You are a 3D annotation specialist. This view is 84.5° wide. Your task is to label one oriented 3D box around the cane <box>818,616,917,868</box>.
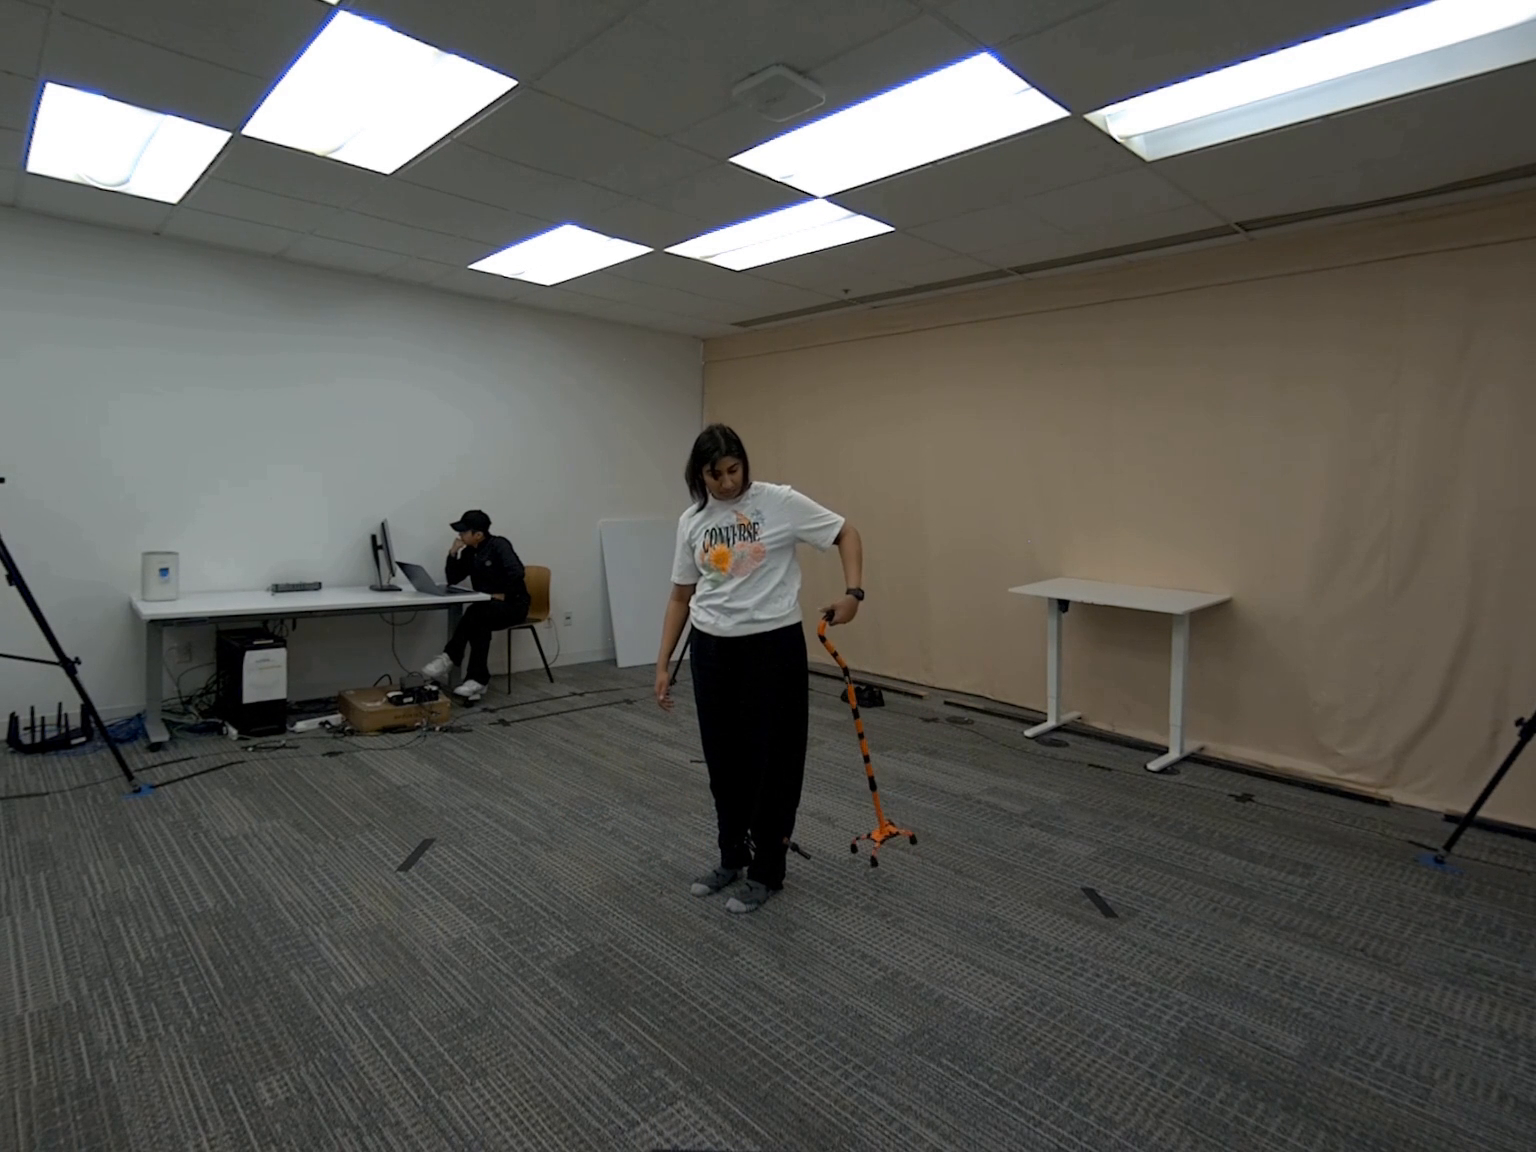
[{"bbox_3d":[0.303,0.541,2.939,0.204,0.899,0.155,-18,11,-27],"label":"cane"}]
